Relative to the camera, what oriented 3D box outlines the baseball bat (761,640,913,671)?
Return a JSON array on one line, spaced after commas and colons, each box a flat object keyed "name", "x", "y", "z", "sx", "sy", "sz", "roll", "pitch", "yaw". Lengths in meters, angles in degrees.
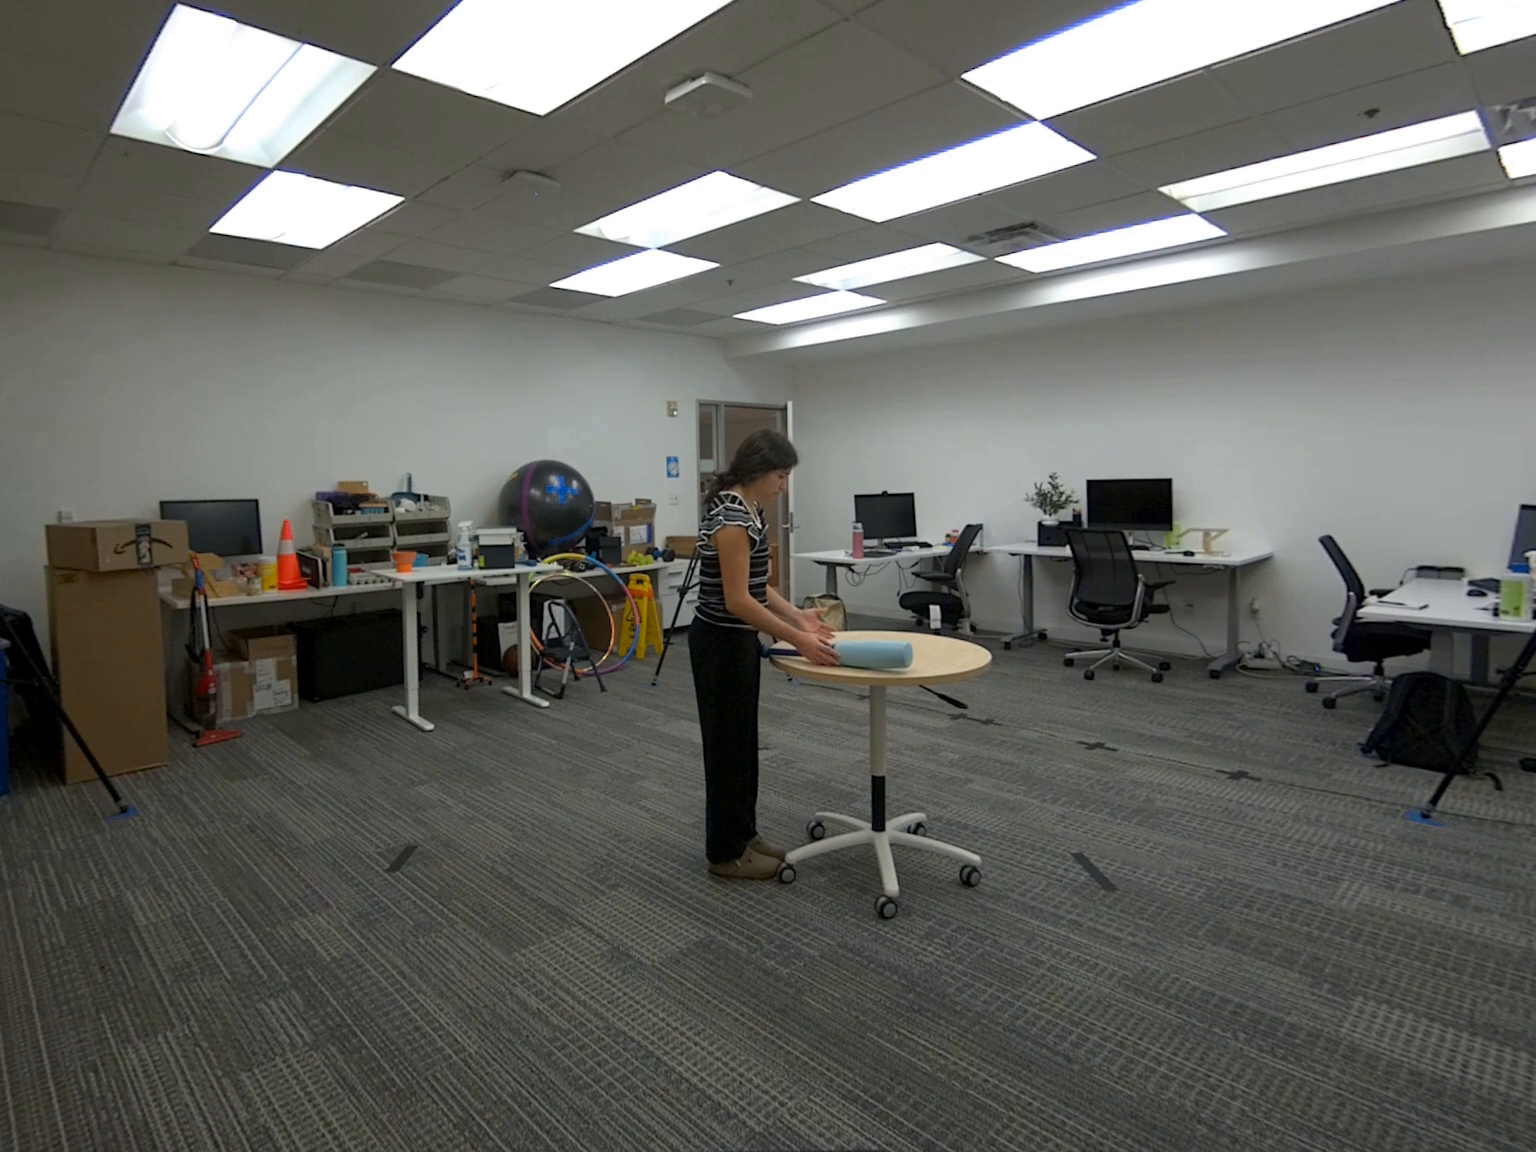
[{"name": "baseball bat", "x": 0.214, "y": 0.248, "z": 2.837, "sx": 0.556, "sy": 0.089, "sz": 0.087, "roll": -2, "pitch": 3, "yaw": 32}]
